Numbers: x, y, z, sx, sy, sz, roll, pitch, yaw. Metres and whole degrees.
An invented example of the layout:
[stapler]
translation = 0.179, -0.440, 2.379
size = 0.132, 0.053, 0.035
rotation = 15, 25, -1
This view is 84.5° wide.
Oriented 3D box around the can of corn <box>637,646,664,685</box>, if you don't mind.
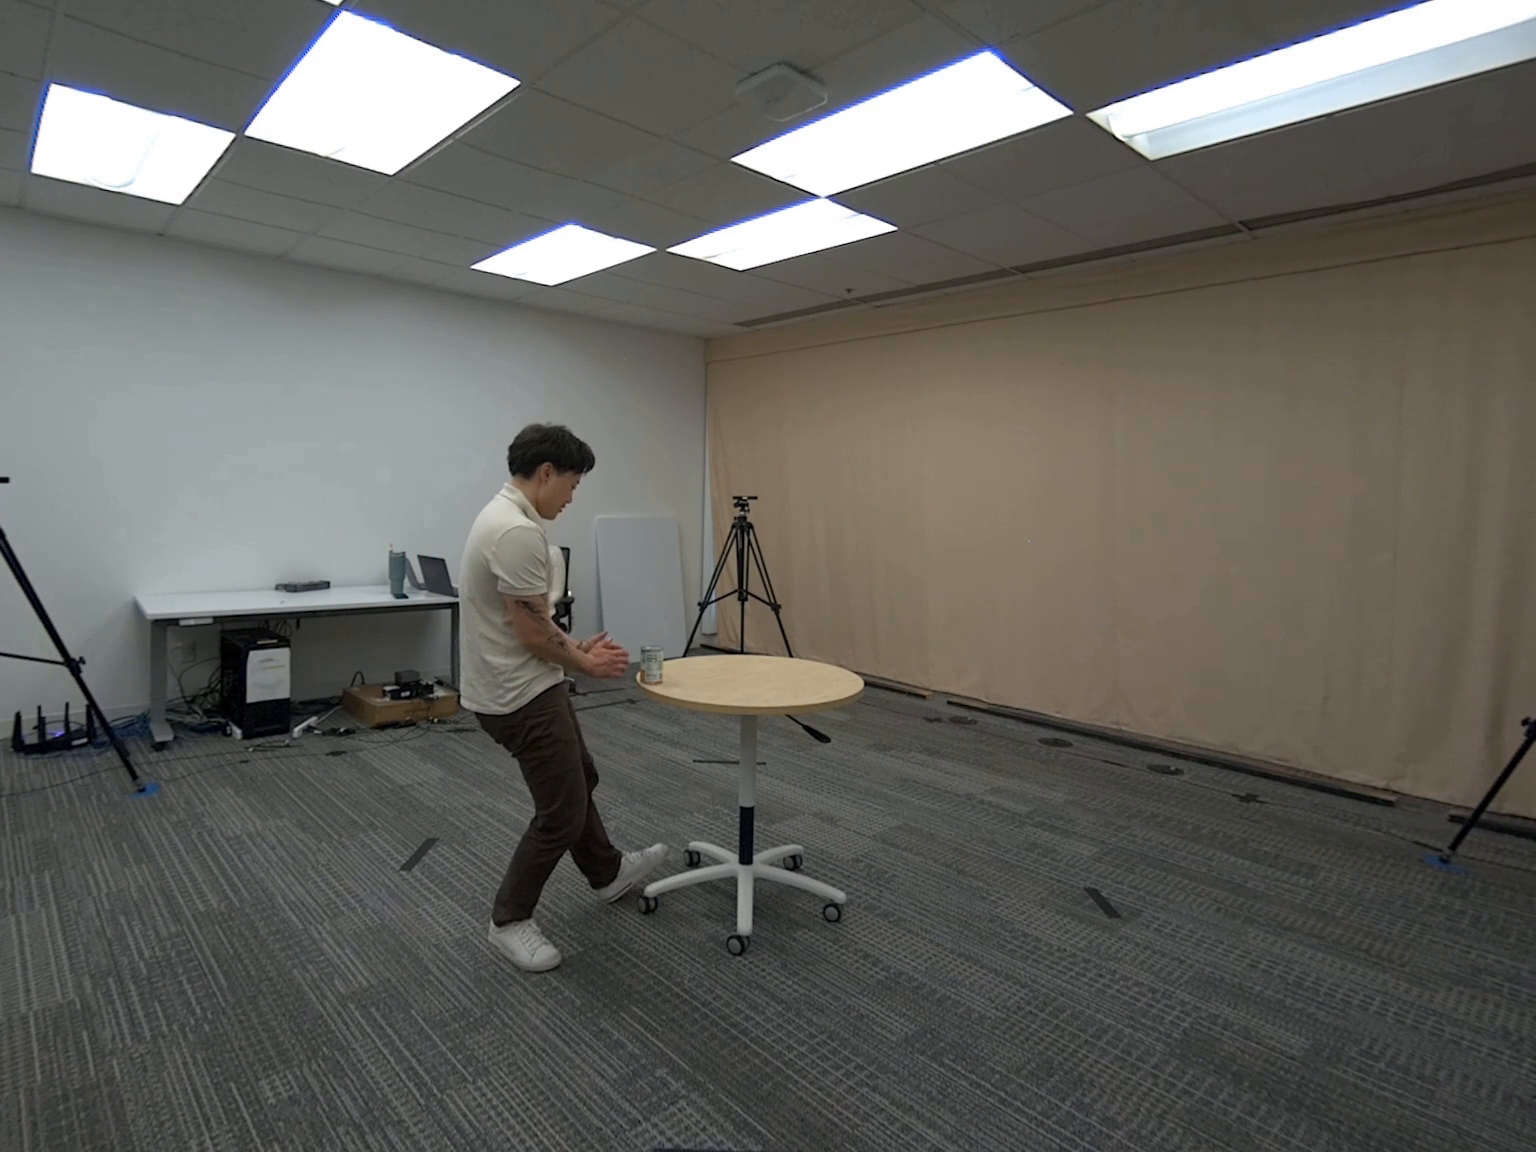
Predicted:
[can of corn]
translation = -0.387, 0.295, 2.734
size = 0.074, 0.110, 0.074
rotation = 0, 7, -1
